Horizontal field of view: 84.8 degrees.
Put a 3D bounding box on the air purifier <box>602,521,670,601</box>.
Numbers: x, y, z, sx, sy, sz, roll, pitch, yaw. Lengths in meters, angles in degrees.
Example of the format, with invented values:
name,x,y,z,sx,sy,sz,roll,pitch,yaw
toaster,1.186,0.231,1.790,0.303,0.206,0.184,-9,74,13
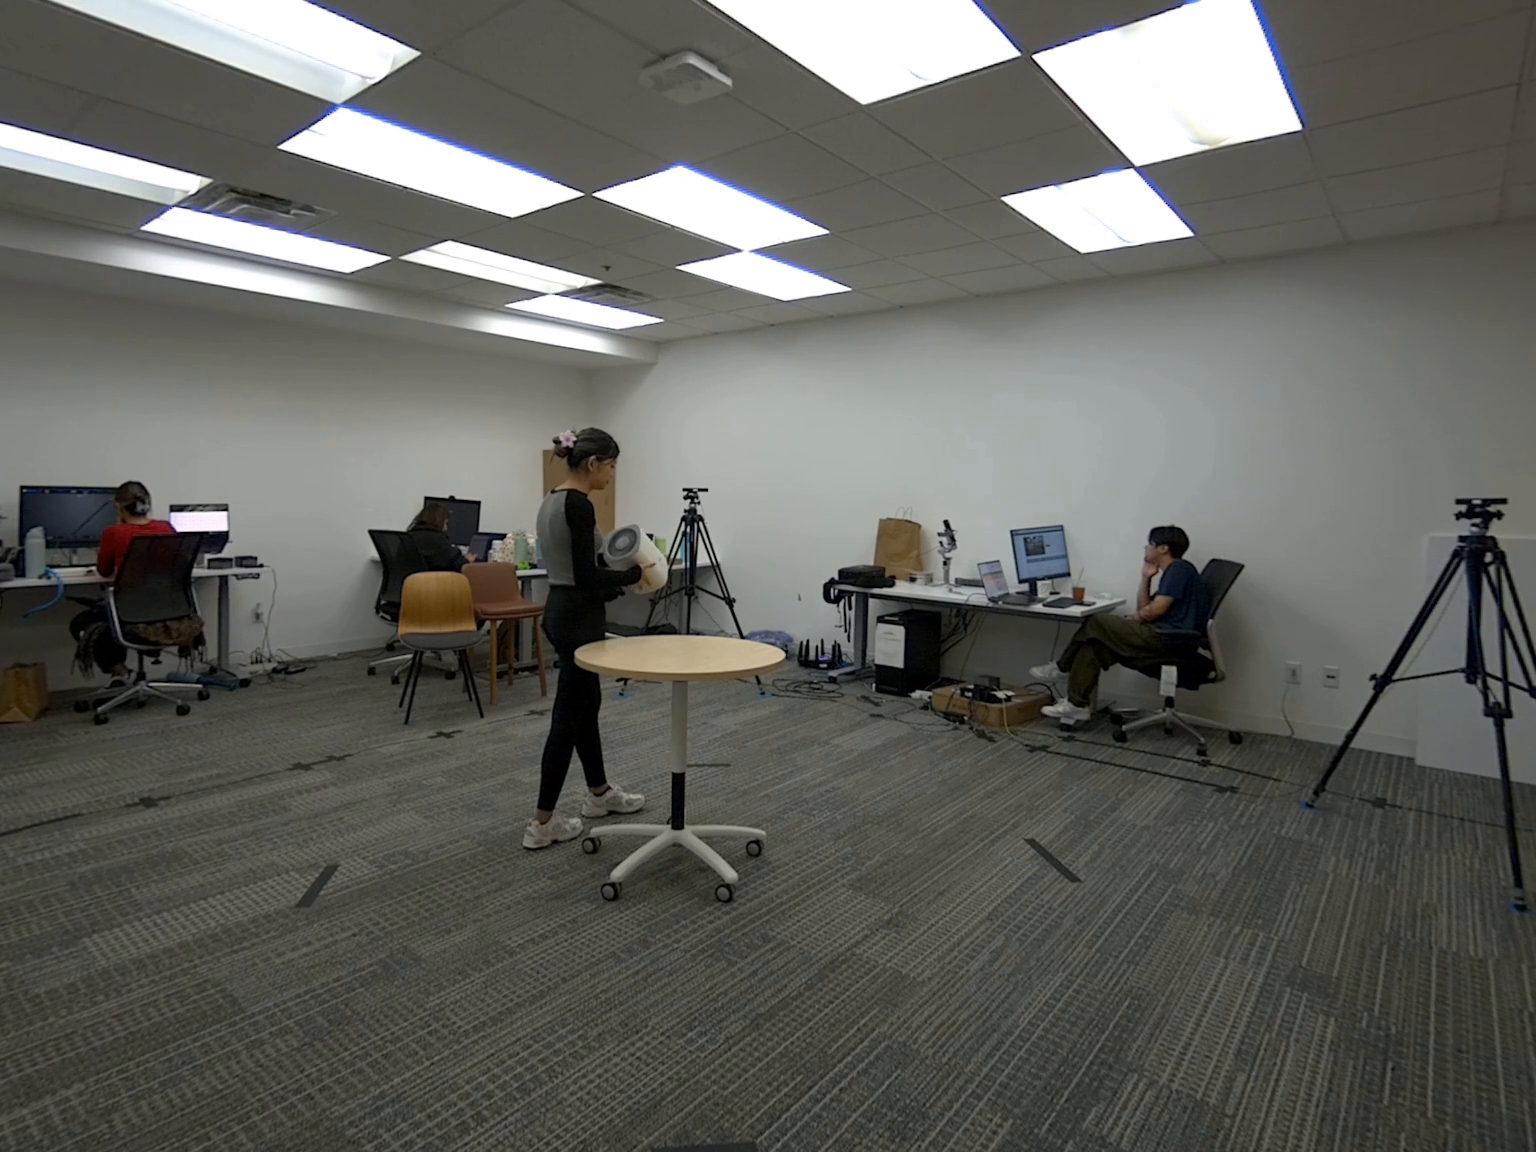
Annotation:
name,x,y,z,sx,sy,sz,roll,pitch,yaw
air purifier,-0.549,-0.062,3.505,0.173,0.176,0.254,-17,-40,14
